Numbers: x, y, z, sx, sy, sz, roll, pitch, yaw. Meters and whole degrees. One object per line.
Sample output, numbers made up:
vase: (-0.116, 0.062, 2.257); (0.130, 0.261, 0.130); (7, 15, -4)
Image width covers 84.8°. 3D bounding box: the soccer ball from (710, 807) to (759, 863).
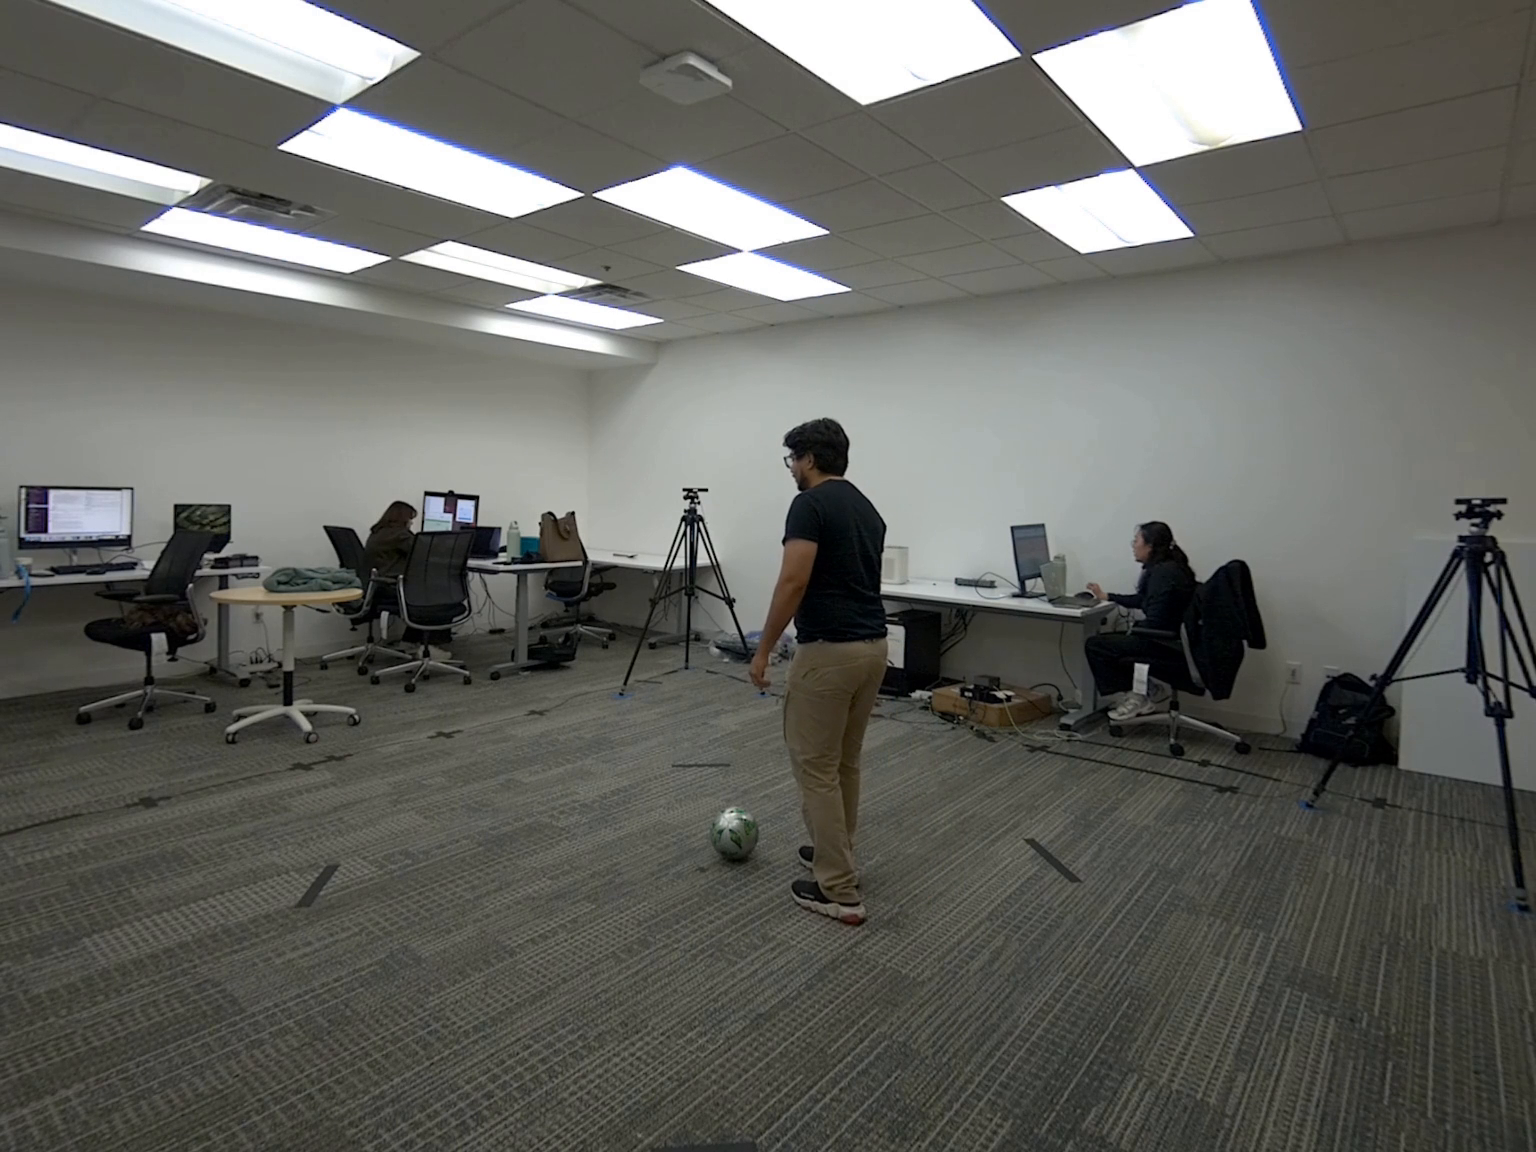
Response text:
soccer ball: (-0.134, 0.968, 3.208); (0.187, 0.187, 0.188); (1, 4, -2)
